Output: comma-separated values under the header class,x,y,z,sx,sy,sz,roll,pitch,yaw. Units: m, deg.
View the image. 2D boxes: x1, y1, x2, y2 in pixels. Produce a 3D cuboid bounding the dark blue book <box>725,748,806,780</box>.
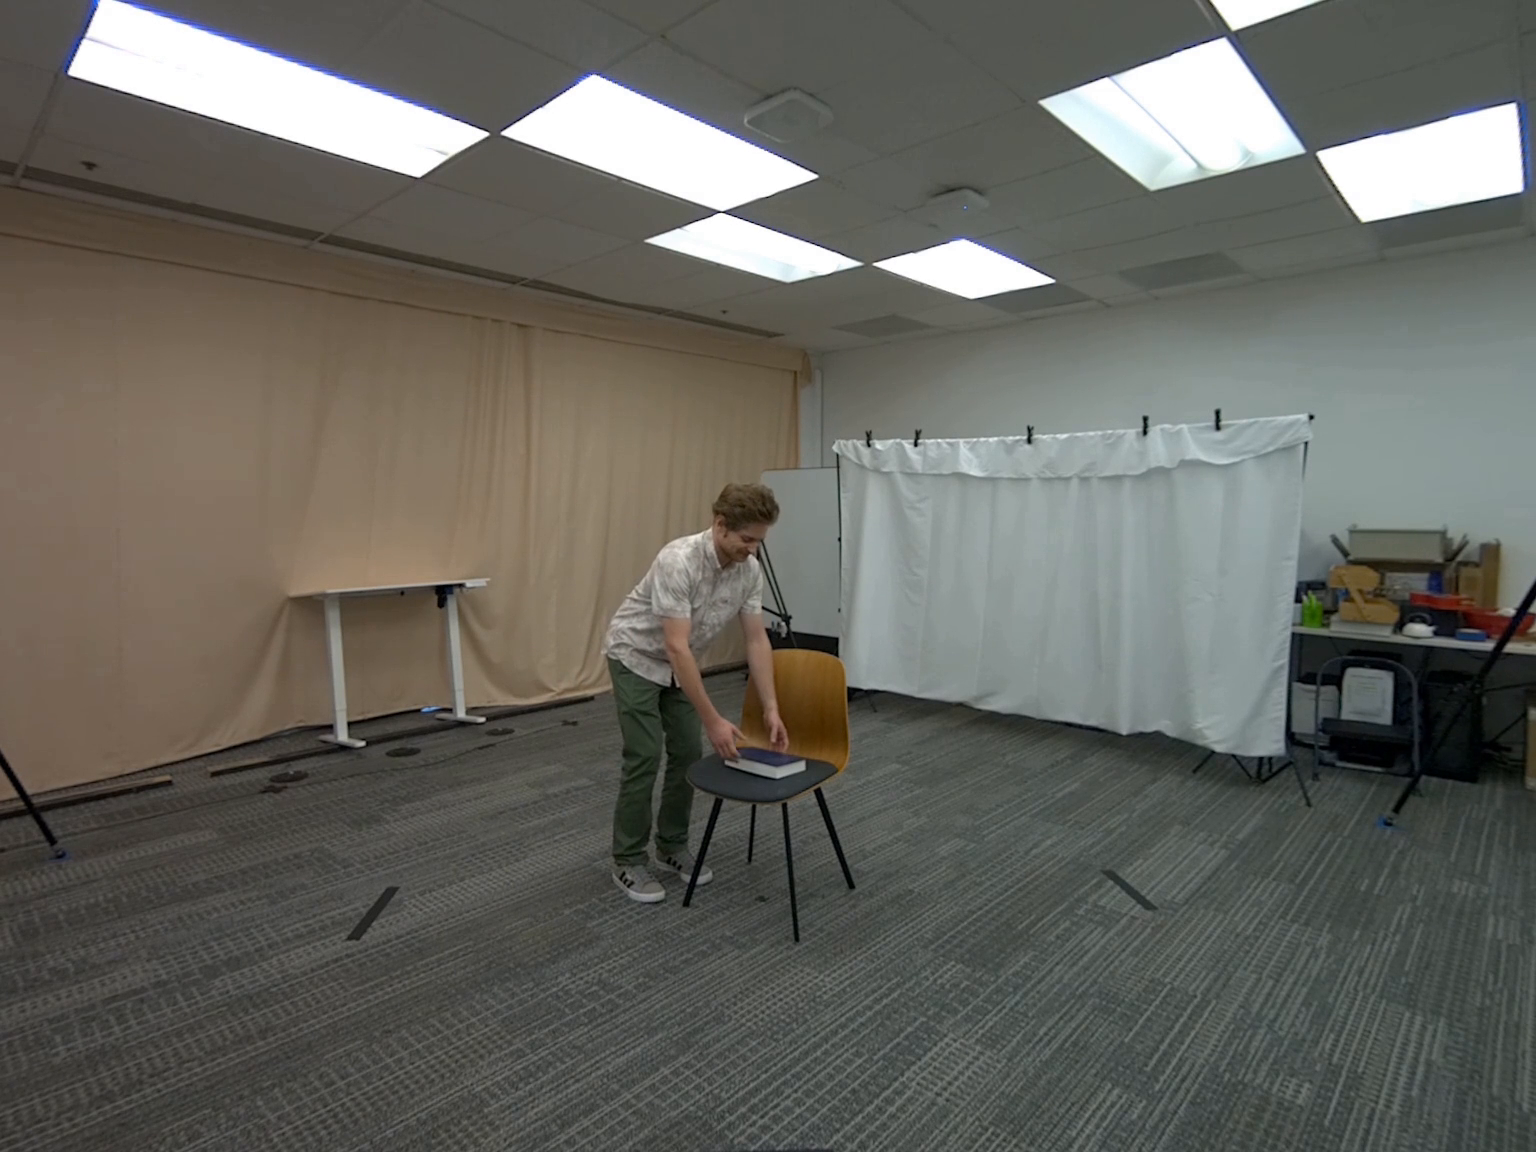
class,x,y,z,sx,sy,sz,roll,pitch,yaw
dark blue book,-0.007,0.641,2.921,0.253,0.045,0.158,3,3,40
